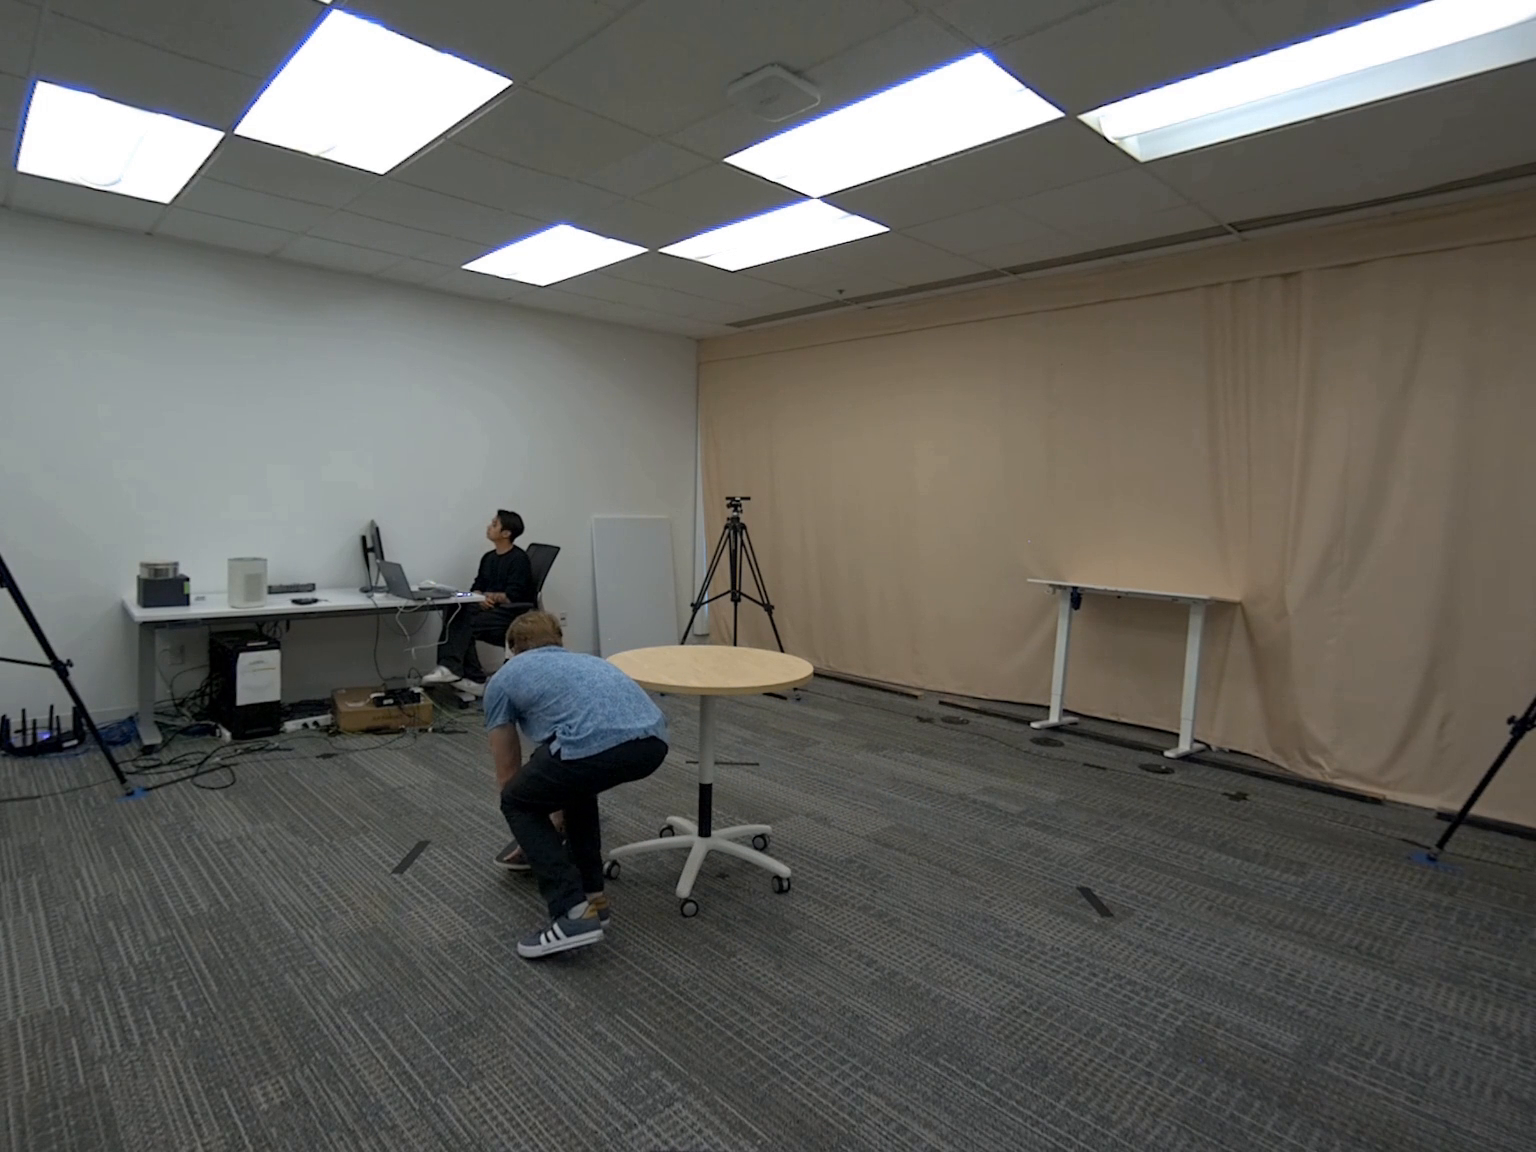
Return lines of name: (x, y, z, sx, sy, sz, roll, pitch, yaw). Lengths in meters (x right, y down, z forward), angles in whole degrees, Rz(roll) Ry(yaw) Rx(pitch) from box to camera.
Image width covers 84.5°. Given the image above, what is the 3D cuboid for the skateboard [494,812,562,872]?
skateboard: (-0.856, 1.026, 3.303, 0.195, 0.110, 0.781, 2, 5, 8)
